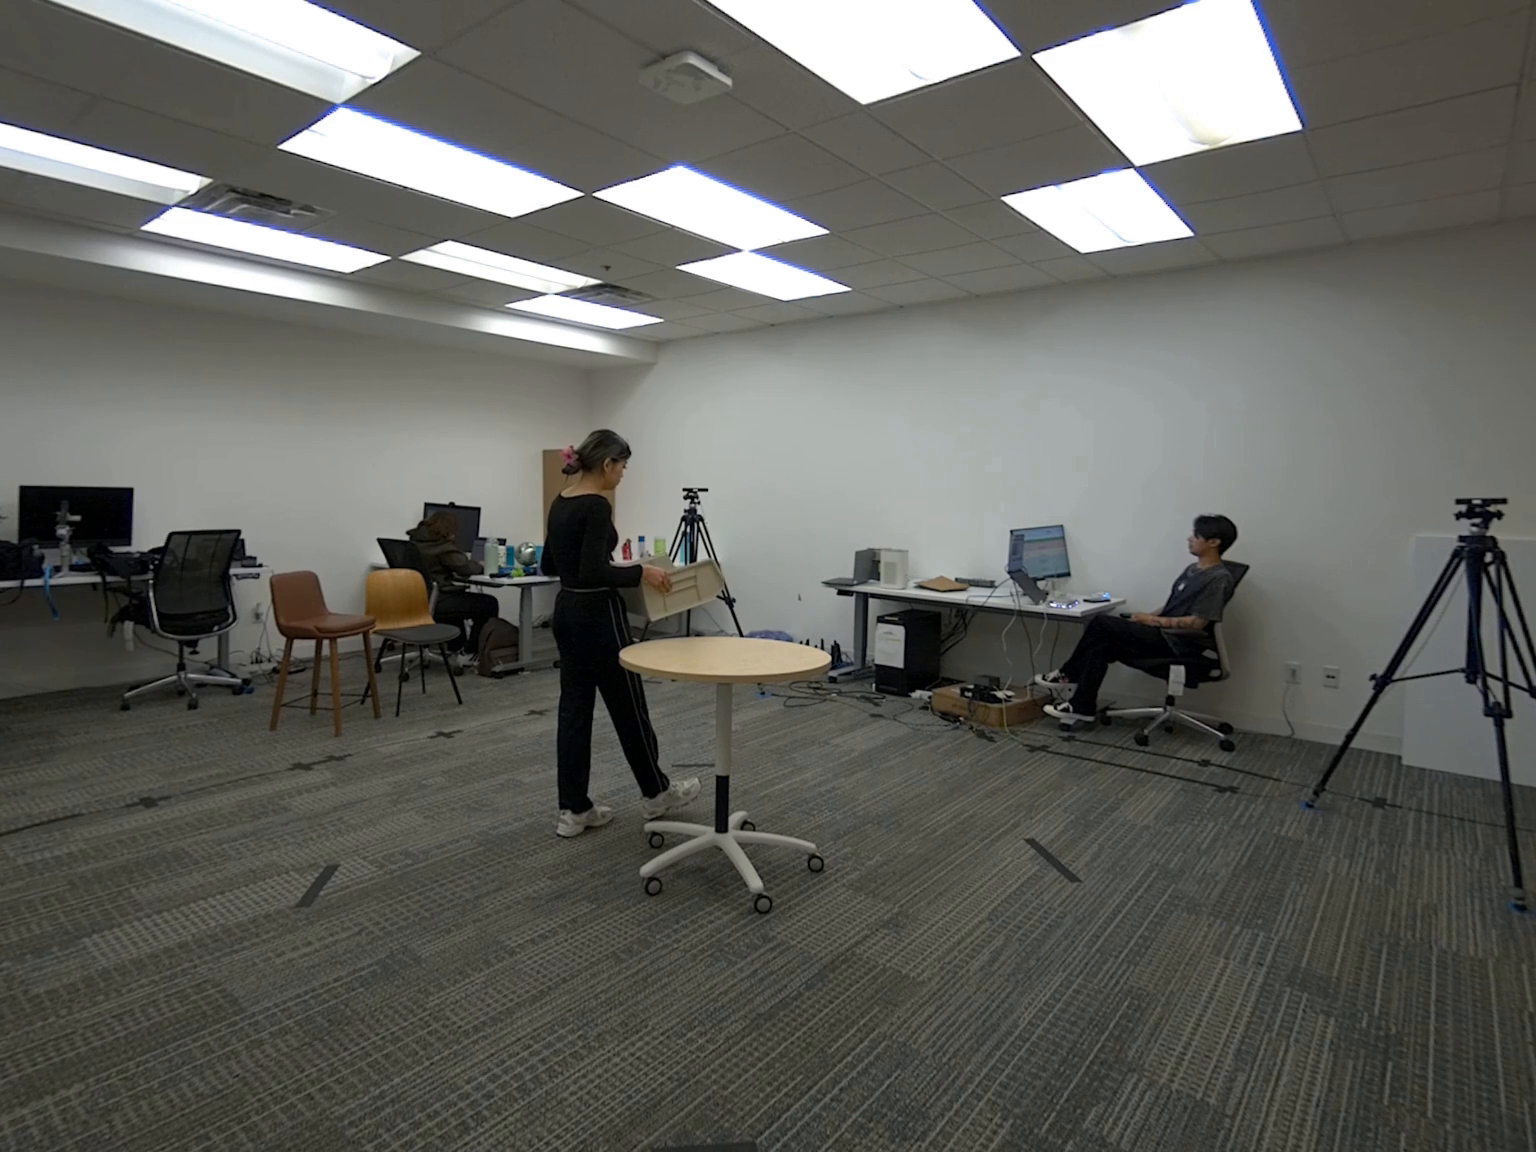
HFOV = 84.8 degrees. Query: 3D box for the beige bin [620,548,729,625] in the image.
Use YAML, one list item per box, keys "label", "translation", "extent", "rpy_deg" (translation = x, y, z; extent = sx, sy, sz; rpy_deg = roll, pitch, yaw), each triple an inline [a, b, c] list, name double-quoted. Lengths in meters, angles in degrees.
- label: "beige bin"
  translation: [-0.461, 0.030, 3.643]
  extent: [0.370, 0.186, 0.436]
  rpy_deg: [-19, 15, -31]
